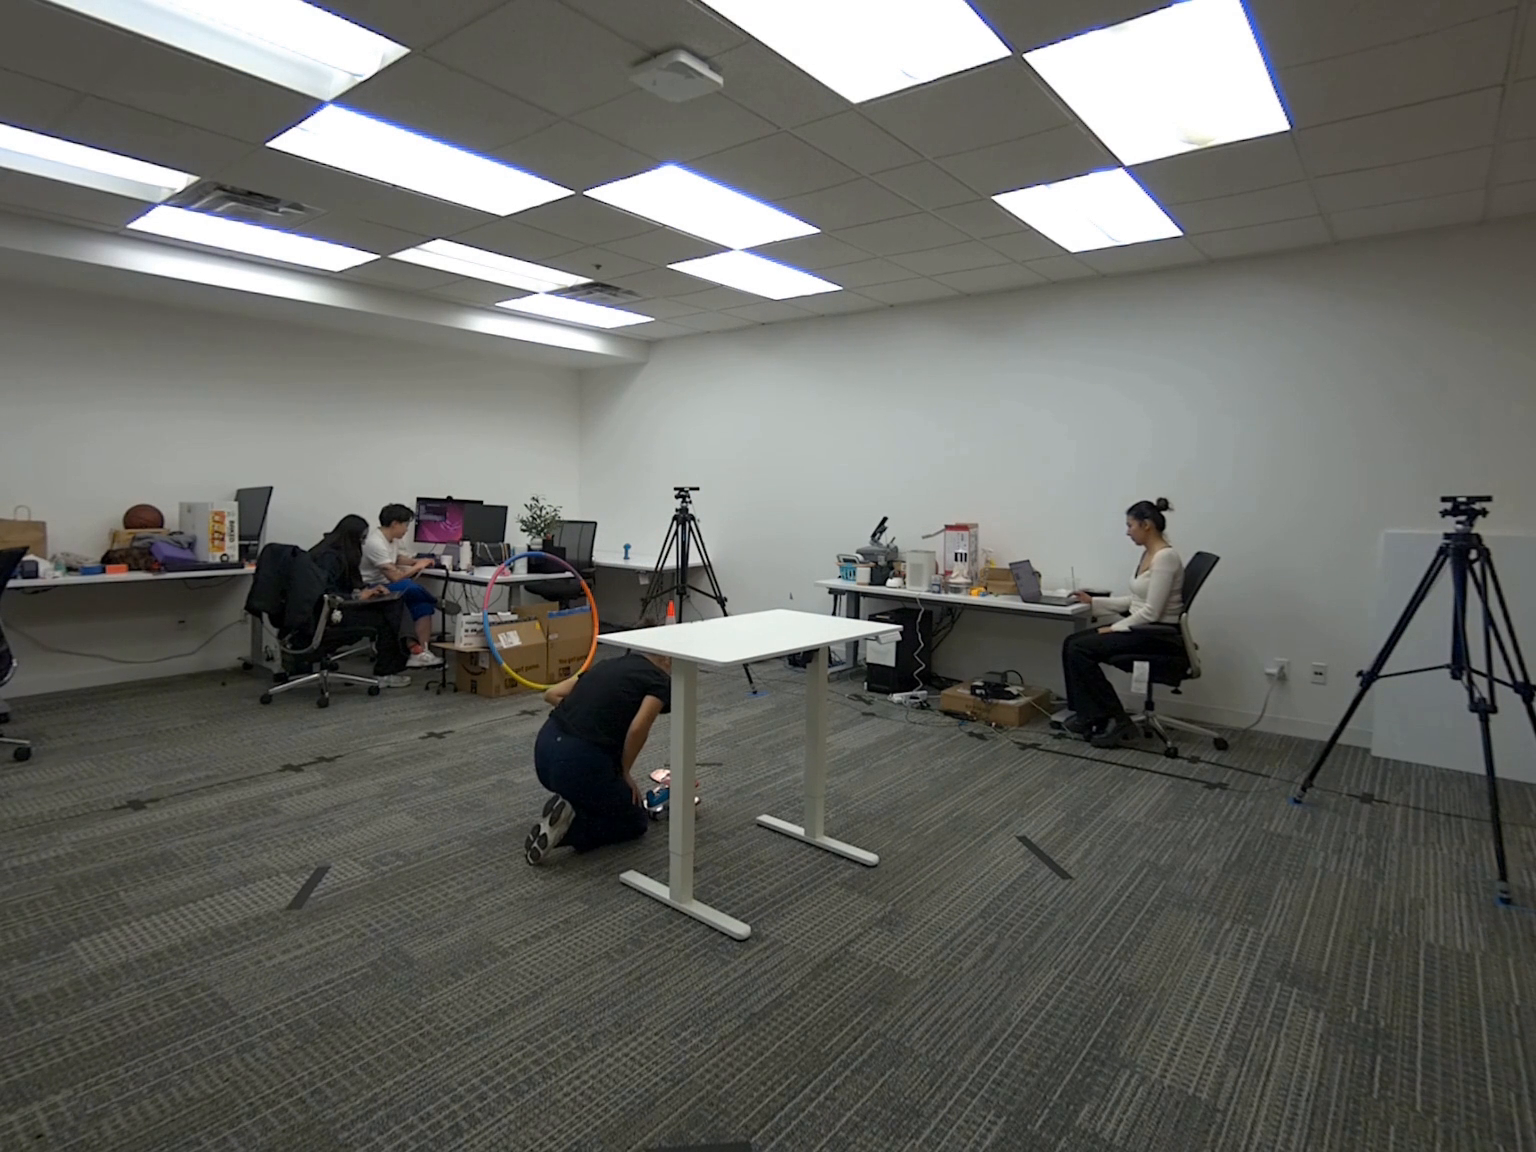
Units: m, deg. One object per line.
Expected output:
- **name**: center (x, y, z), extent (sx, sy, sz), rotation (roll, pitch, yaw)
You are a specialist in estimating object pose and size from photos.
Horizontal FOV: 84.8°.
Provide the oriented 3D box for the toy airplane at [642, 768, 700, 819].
- **toy airplane**: center (-0.389, 0.936, 3.642), extent (0.254, 0.156, 0.256), rotation (3, 4, 11)
